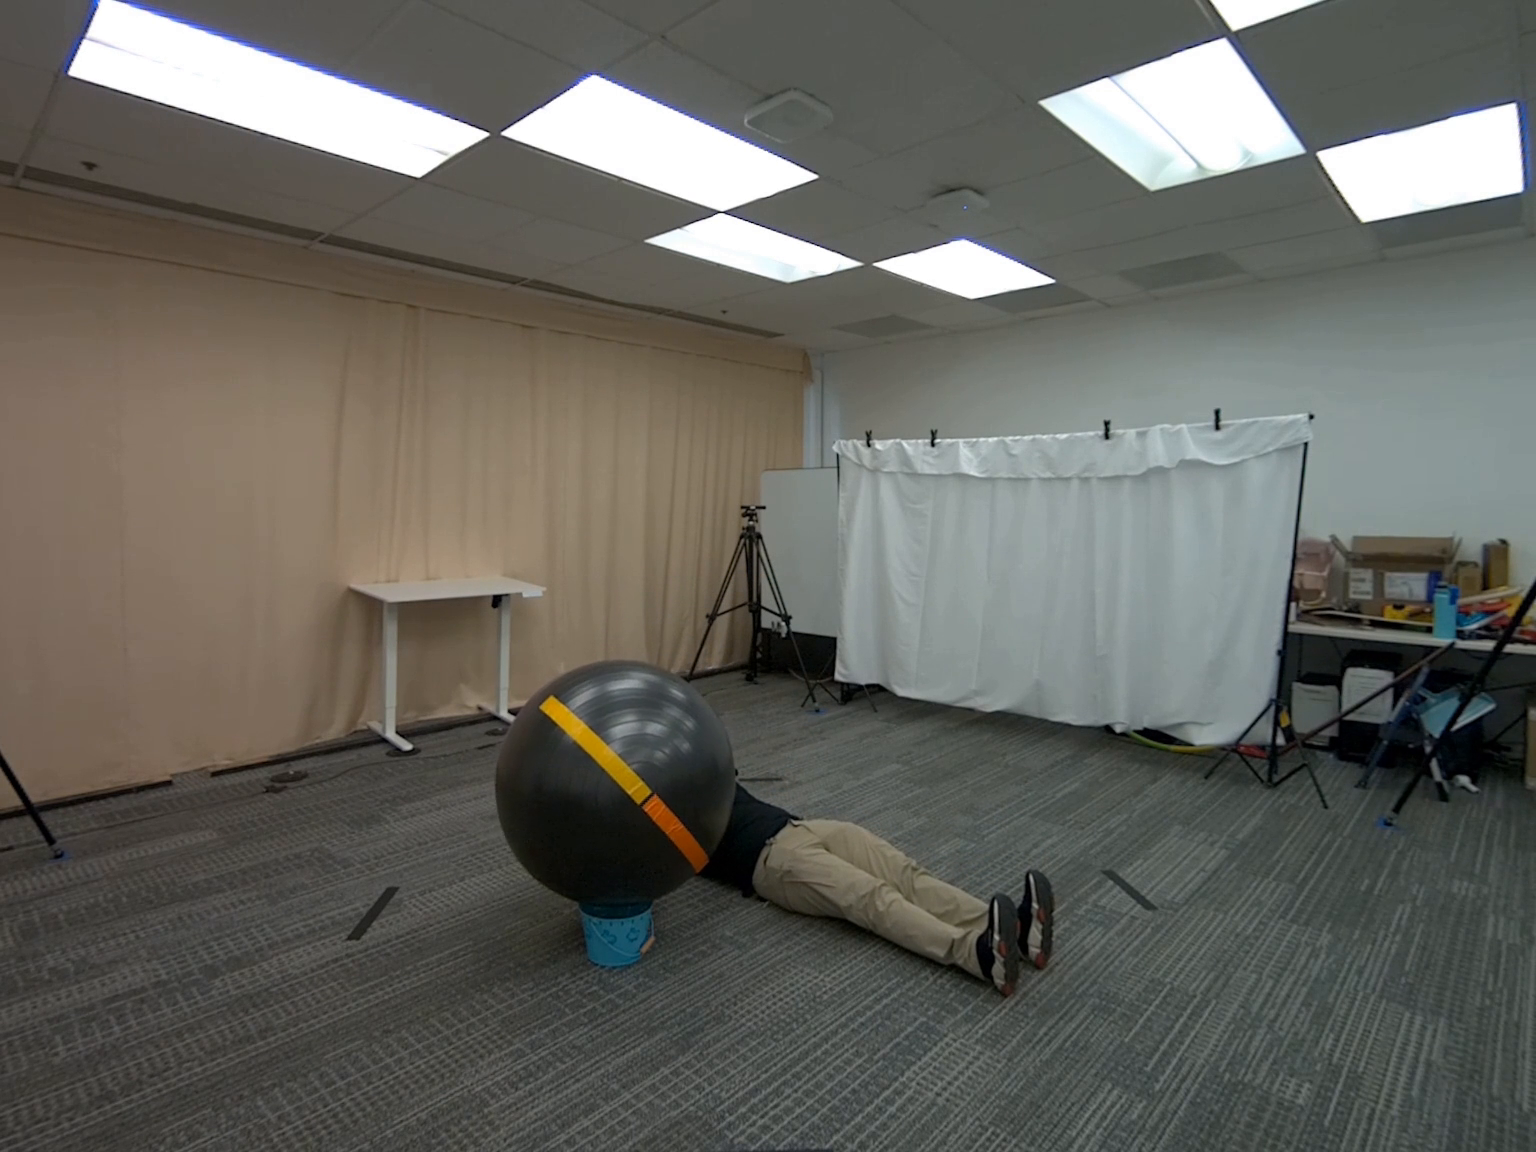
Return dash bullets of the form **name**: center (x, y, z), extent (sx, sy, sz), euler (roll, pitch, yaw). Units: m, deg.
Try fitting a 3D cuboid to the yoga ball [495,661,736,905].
- **yoga ball**: center (-0.481, 0.656, 2.687), extent (0.757, 0.756, 0.761), euler (0, 4, -2)
